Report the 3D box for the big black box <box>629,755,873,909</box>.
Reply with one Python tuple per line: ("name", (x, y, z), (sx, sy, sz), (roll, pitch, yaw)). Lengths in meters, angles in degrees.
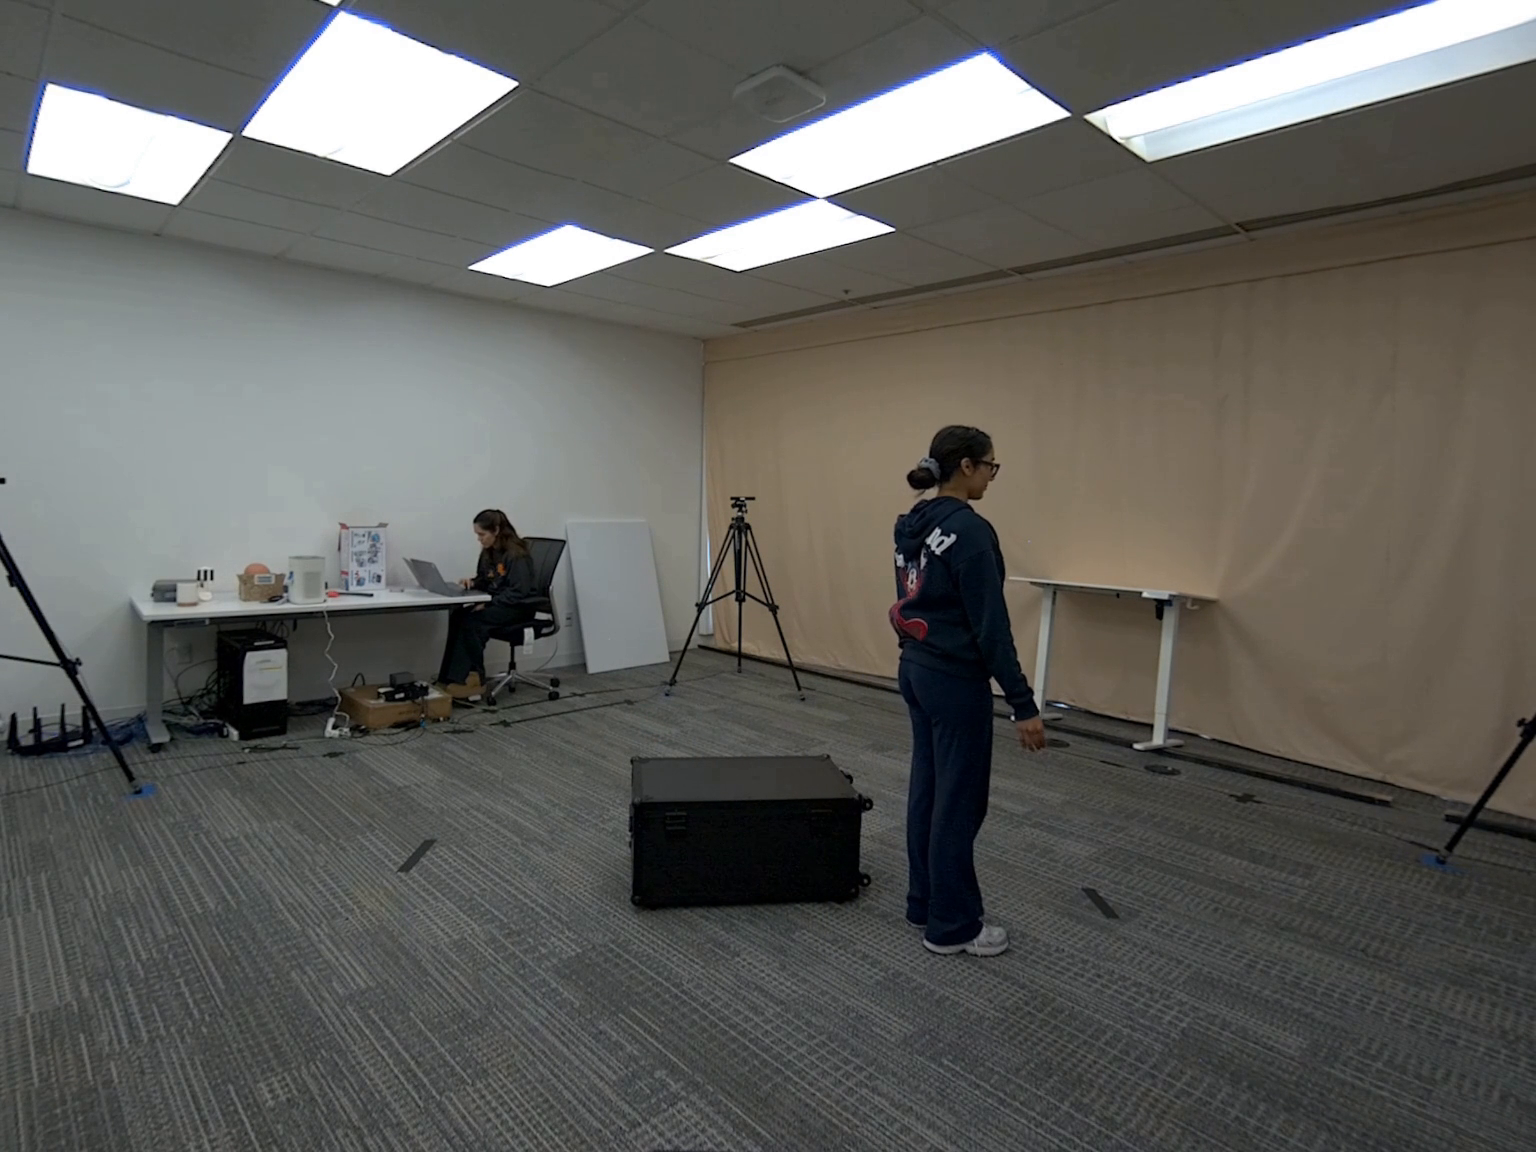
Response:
("big black box", (-0.077, 0.919, 3.095), (0.855, 0.395, 0.526), (1, 5, -9))
